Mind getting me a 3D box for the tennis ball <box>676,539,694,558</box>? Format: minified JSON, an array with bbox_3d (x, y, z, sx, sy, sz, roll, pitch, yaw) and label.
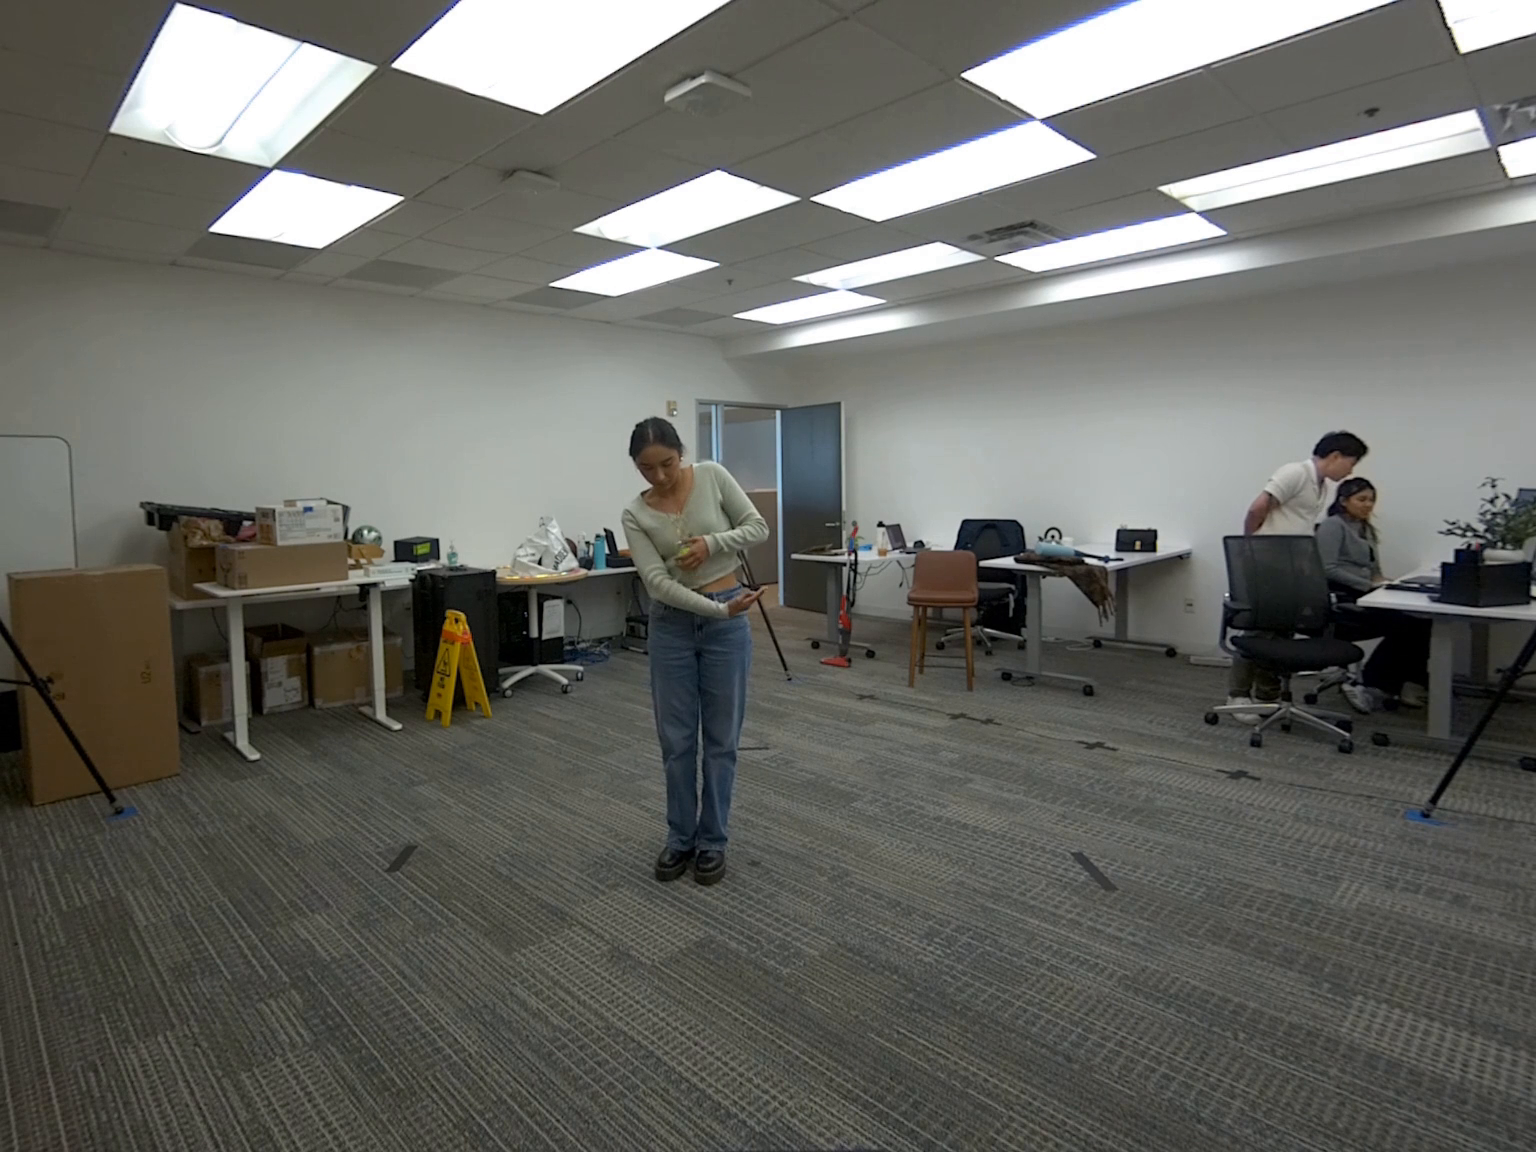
[{"bbox_3d":[-0.244,-0.064,2.878,0.066,0.066,0.067,-1,5,-2],"label":"tennis ball"}]
